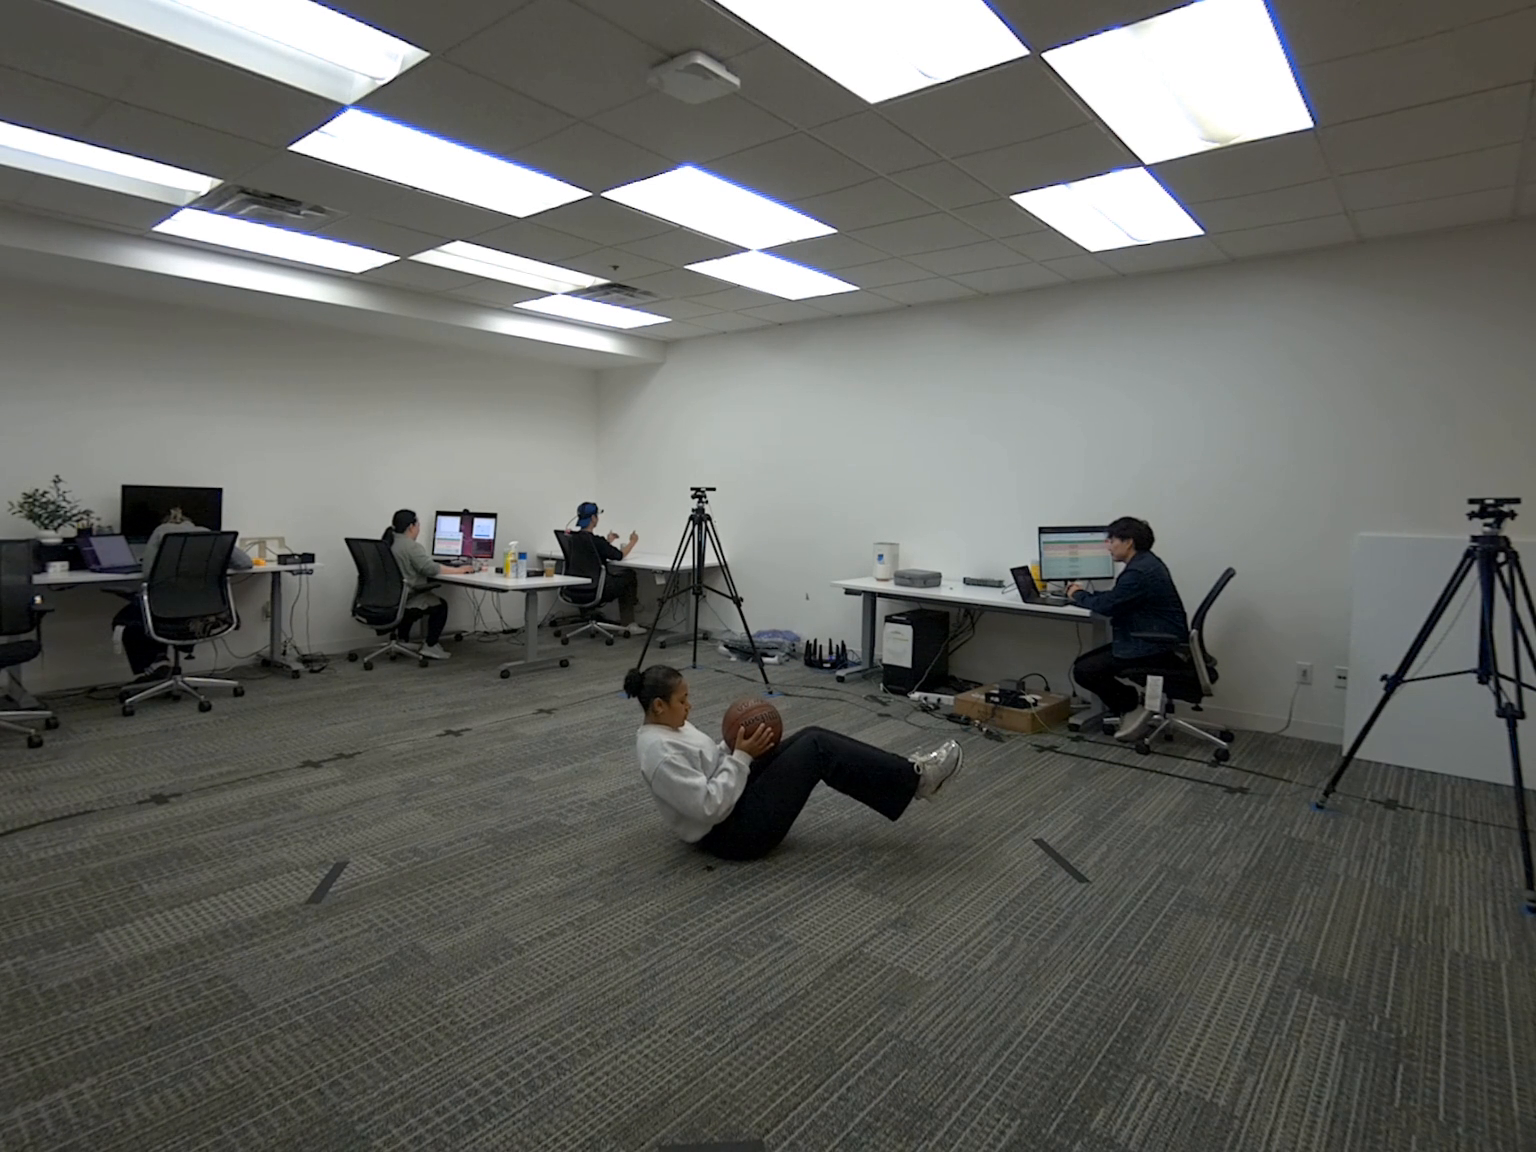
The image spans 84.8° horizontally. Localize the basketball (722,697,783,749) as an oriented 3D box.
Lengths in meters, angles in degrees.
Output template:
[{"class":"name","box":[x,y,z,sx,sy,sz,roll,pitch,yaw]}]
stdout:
[{"class":"basketball","box":[-0.071,0.587,3.314,0.235,0.235,0.237,1,4,-2]}]
